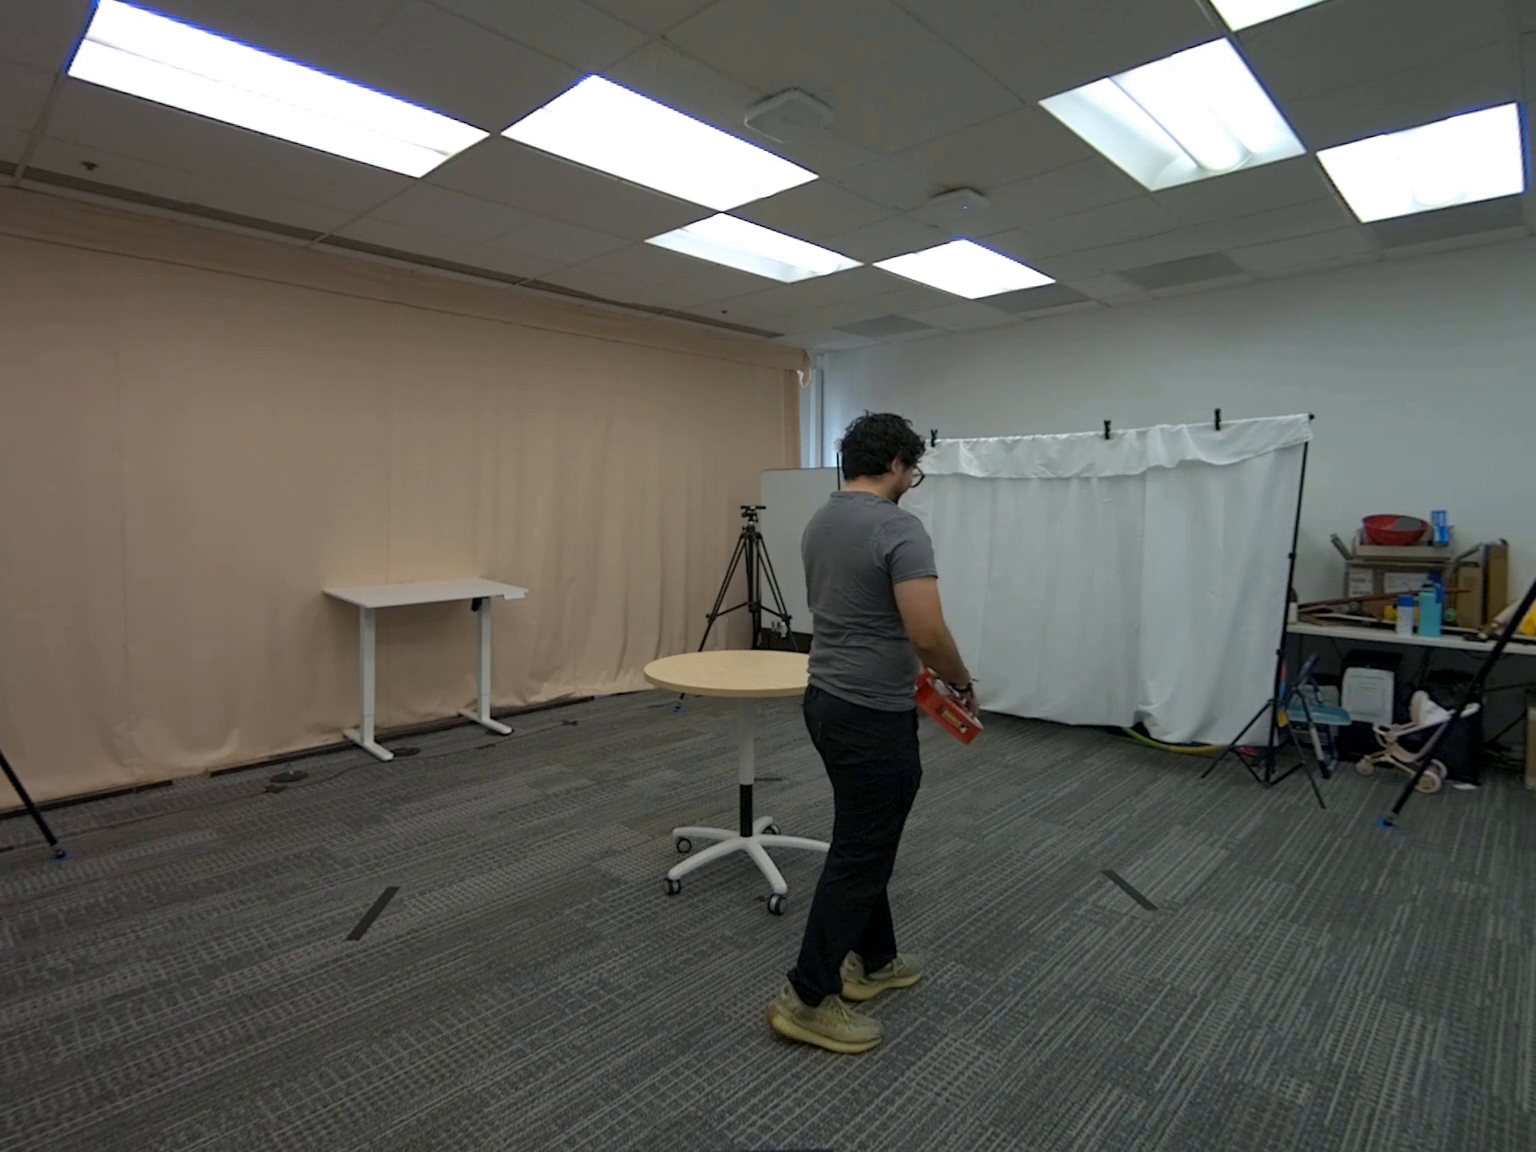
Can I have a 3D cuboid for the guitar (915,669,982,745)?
[{"bbox_3d":[0.517,0.339,2.414,0.195,0.071,0.492,41,11,5],"label":"guitar"}]
